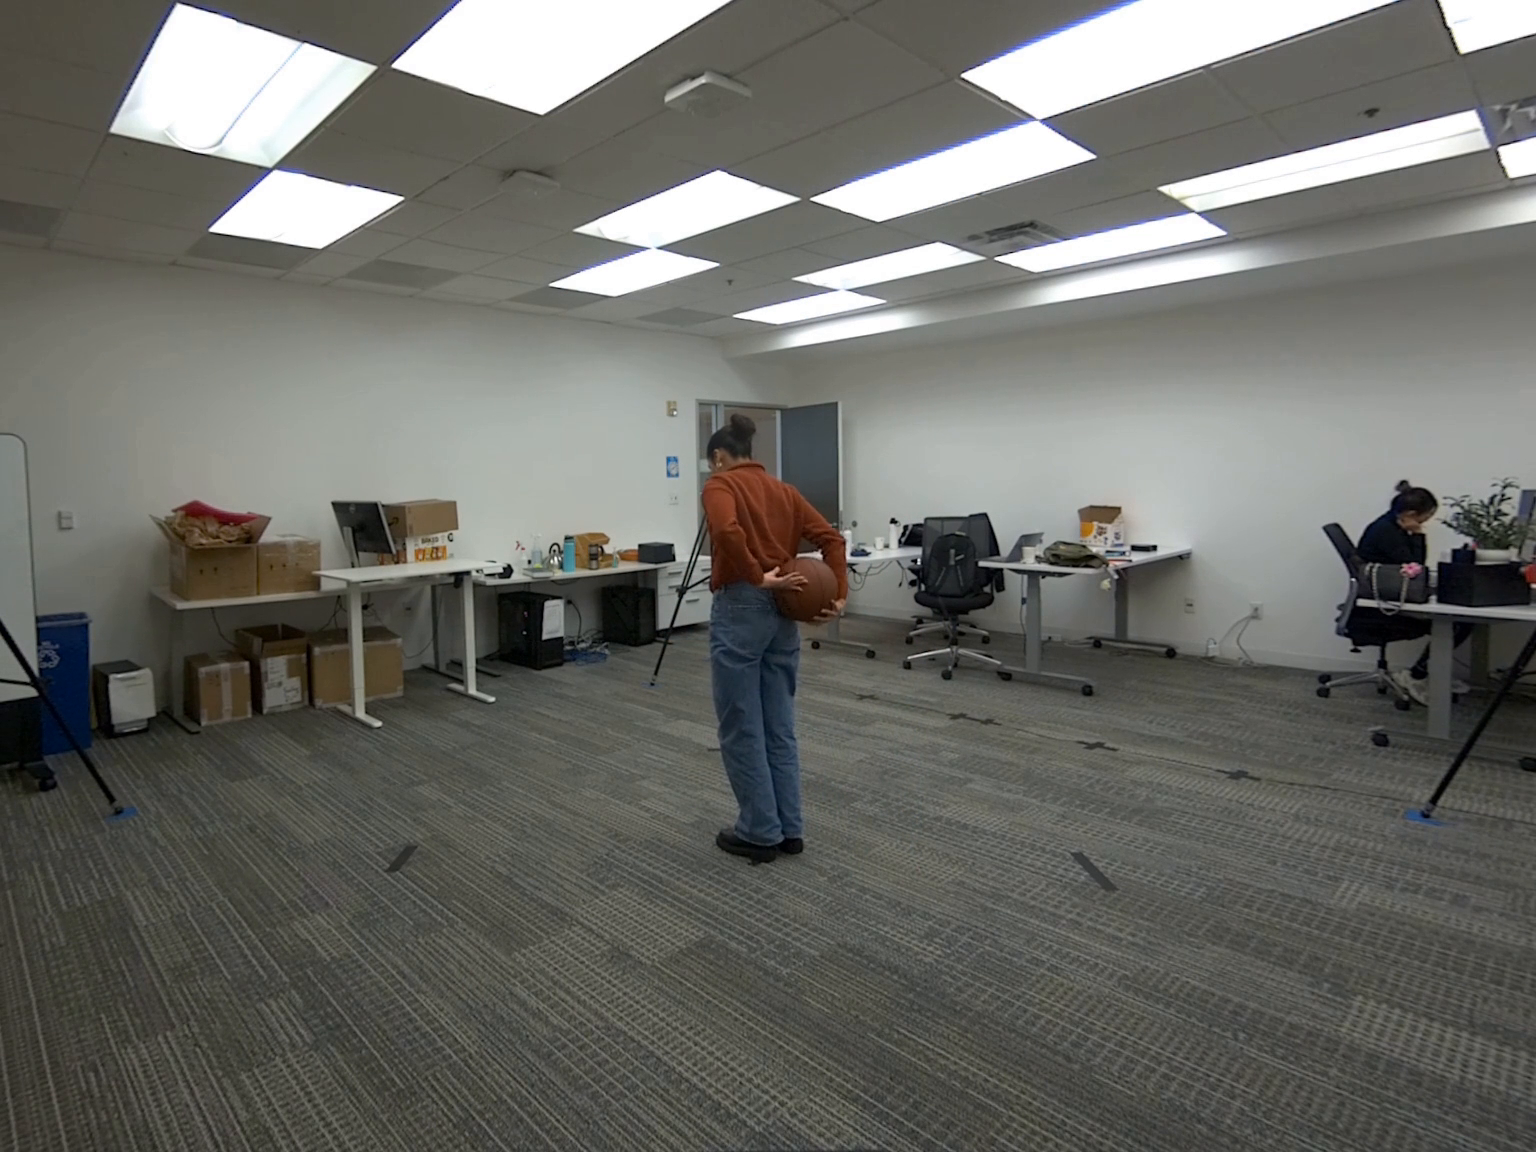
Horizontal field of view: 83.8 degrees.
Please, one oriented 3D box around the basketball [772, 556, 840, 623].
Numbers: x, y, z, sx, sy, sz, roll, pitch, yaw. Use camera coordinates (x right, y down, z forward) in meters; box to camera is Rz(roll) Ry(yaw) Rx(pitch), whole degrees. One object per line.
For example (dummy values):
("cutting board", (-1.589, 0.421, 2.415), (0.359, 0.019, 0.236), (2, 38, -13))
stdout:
("basketball", (0.118, 0.048, 3.080), (0.236, 0.235, 0.237), (-1, 5, -2))
